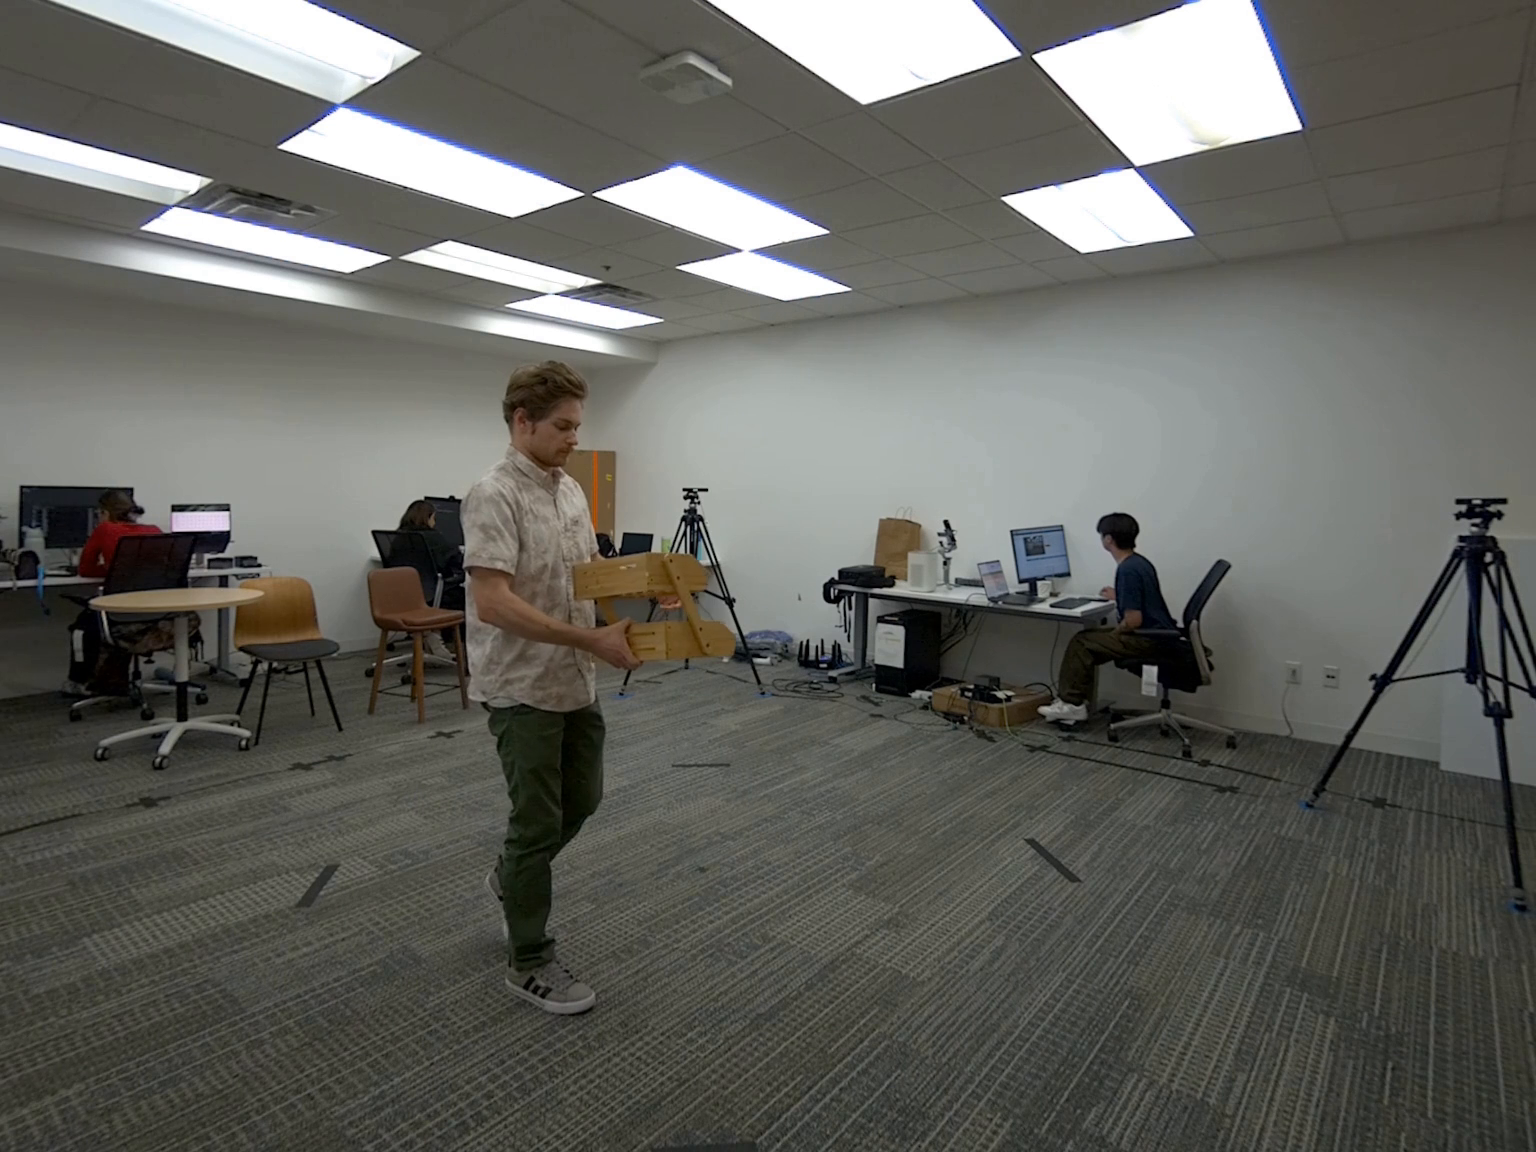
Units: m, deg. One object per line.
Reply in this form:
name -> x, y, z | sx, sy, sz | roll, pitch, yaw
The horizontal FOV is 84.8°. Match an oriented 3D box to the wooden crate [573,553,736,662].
wooden crate -> -0.304, 0.083, 2.233 | 0.333, 0.275, 0.292 | -9, -7, 40
